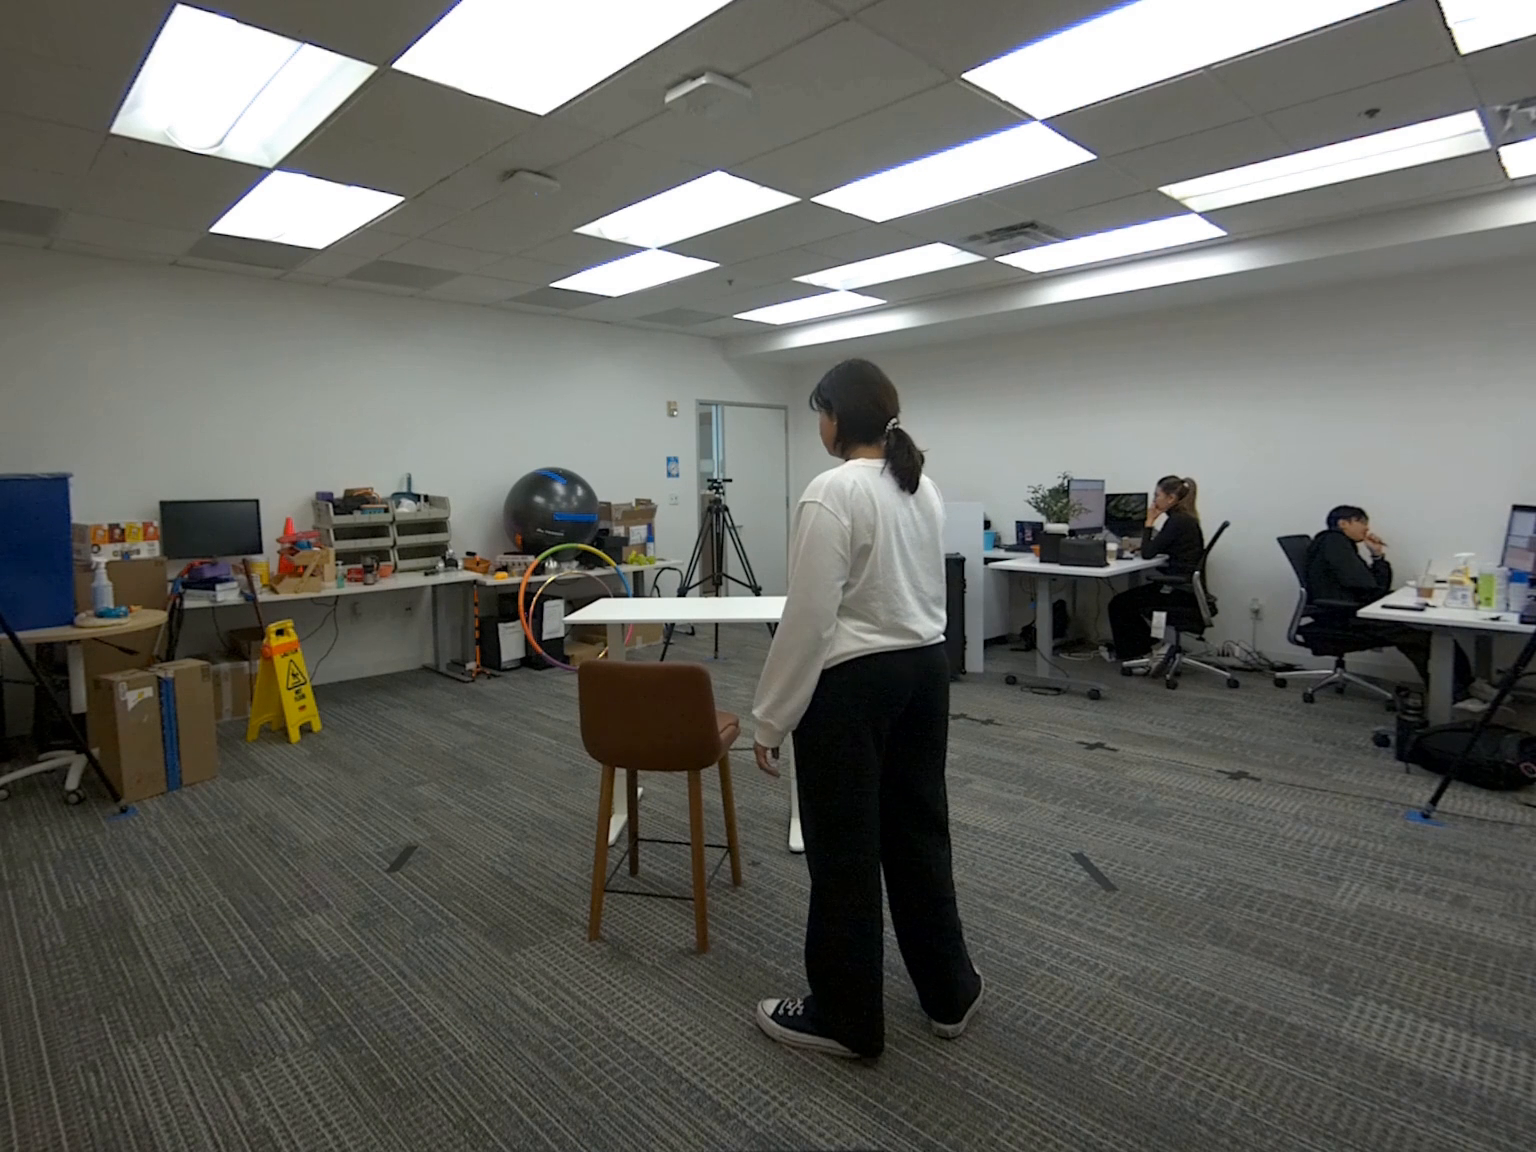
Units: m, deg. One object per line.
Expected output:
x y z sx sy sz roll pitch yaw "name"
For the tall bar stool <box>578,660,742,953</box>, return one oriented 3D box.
-0.332 0.657 2.753 0.463 0.885 0.464 0 6 13 "tall bar stool"
